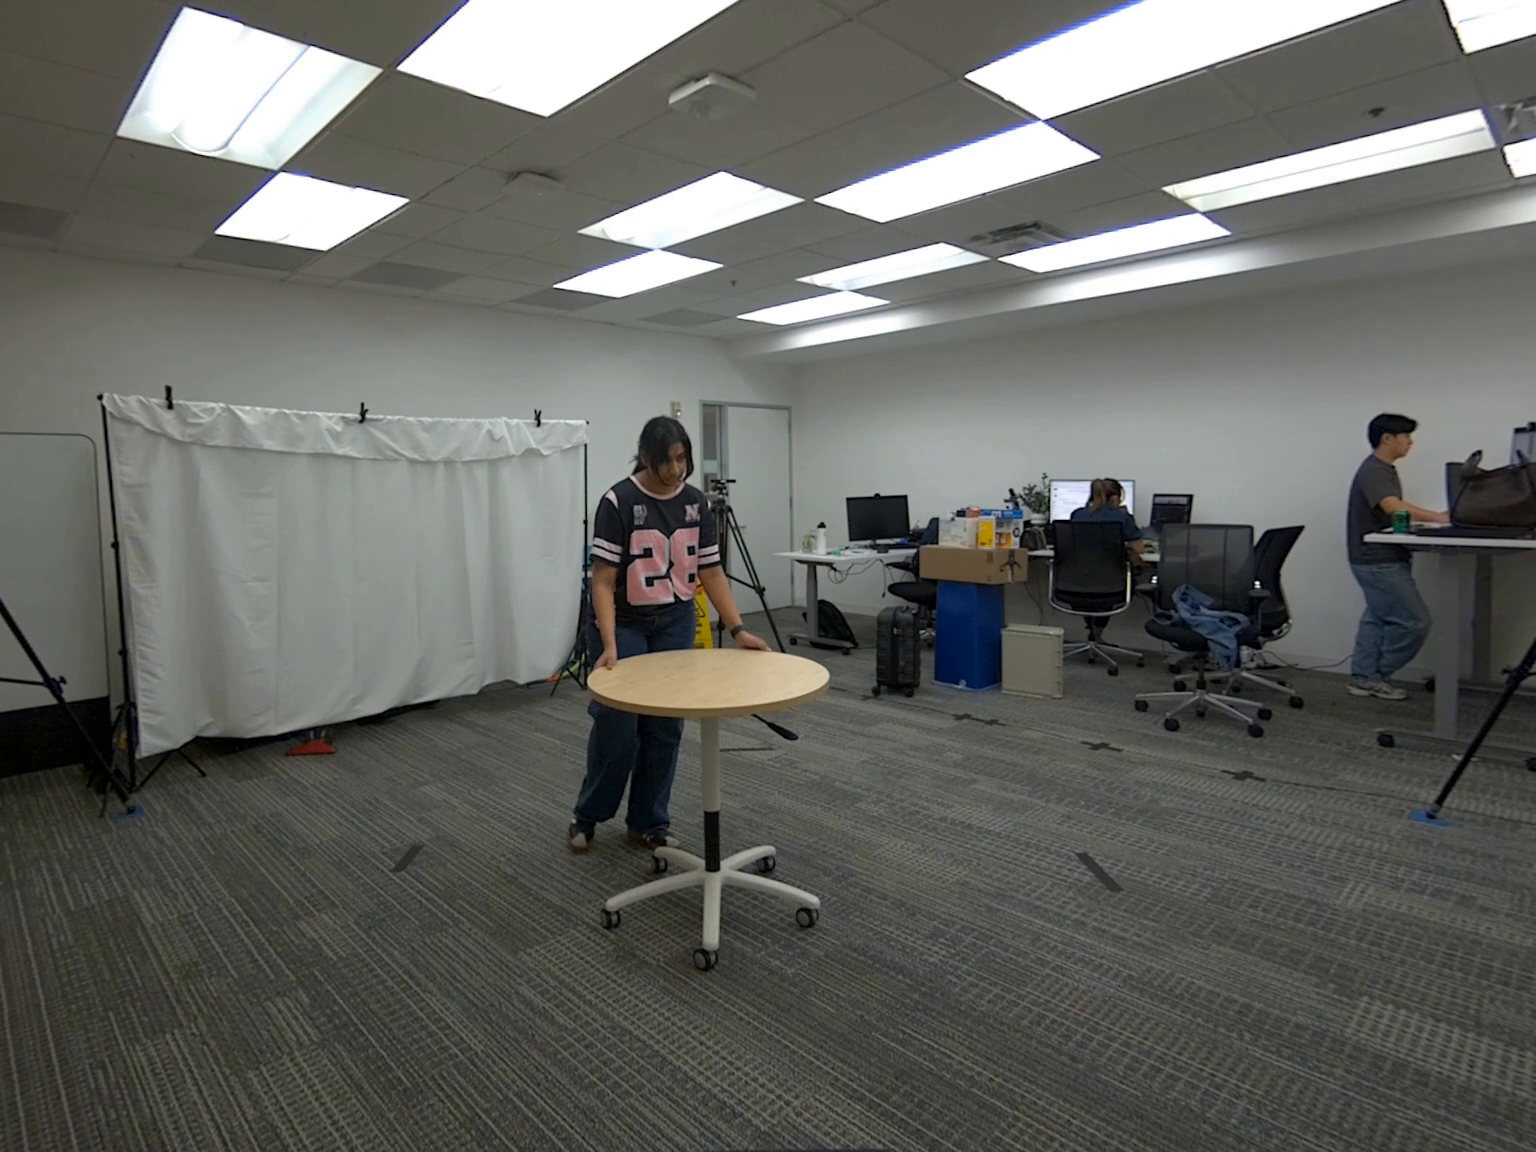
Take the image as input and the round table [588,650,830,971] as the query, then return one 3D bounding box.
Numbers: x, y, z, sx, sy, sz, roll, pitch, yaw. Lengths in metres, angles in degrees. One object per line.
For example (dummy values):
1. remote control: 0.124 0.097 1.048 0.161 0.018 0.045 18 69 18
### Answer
1. round table: -0.185 0.693 2.765 0.784 0.783 0.789 -1 5 -2
